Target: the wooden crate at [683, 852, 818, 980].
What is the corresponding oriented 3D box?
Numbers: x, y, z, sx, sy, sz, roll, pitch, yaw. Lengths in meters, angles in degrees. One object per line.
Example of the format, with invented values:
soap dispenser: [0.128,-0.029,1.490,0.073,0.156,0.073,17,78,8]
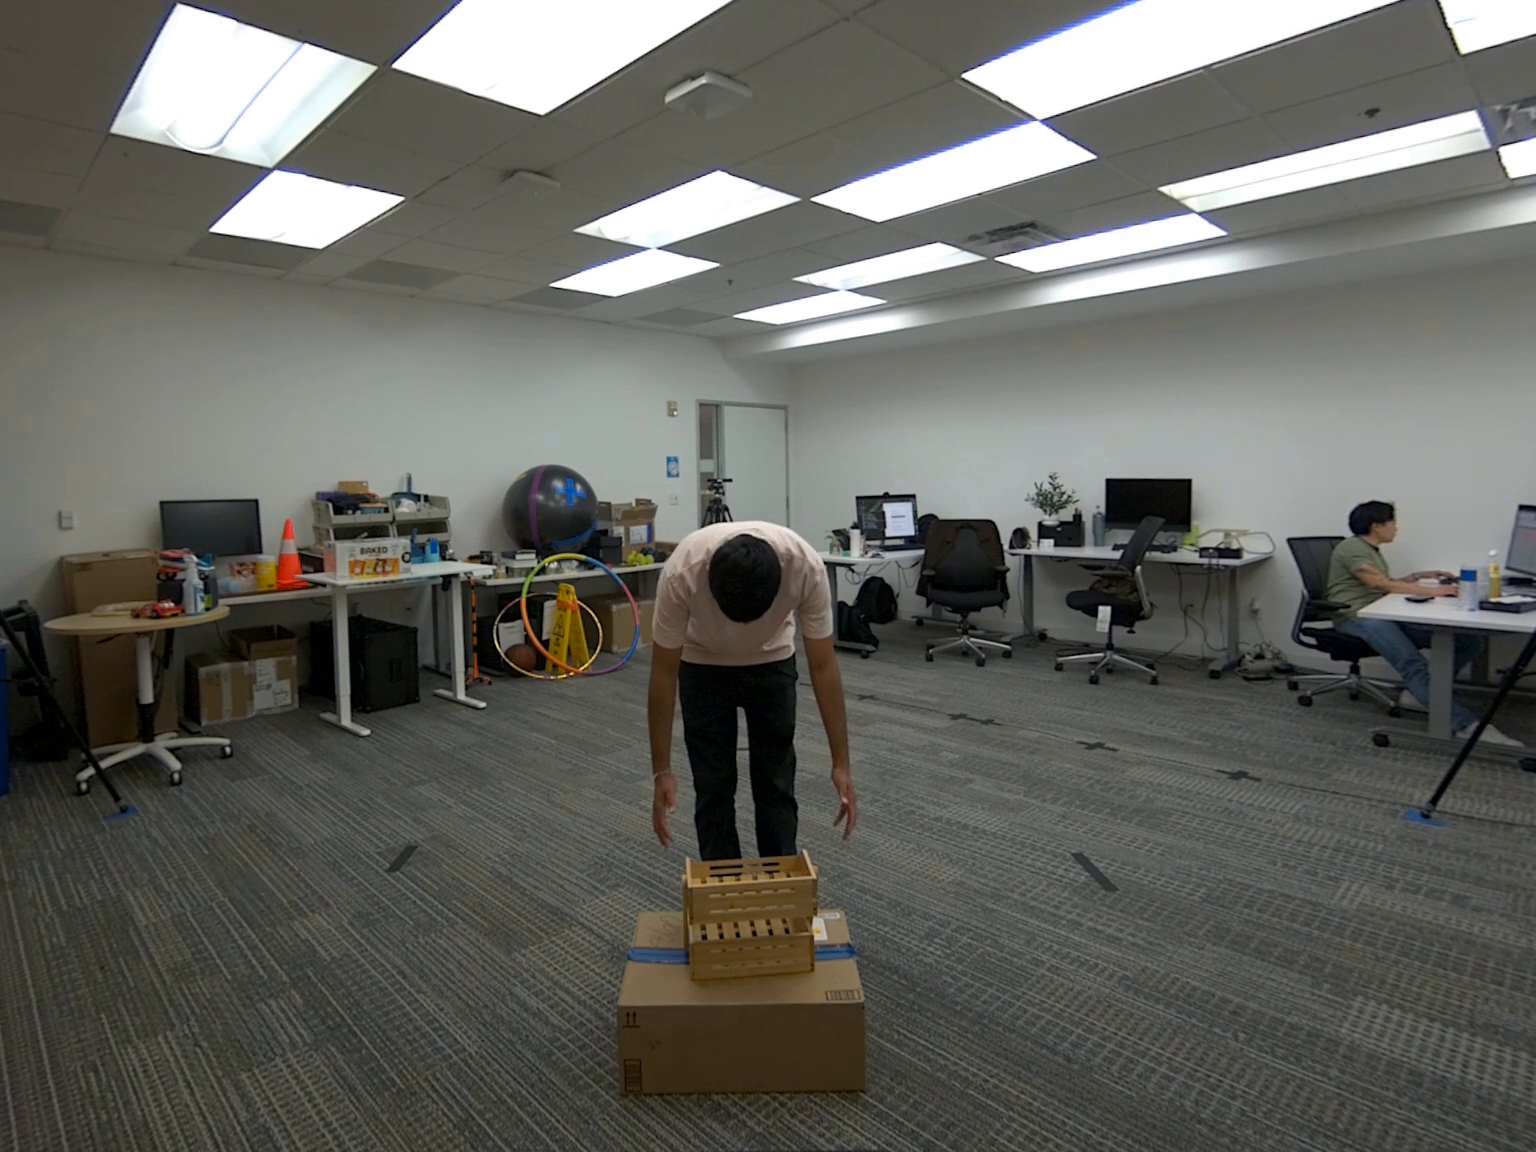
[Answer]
wooden crate: [-0.050,0.822,2.138,0.323,0.272,0.306,-2,7,-7]
